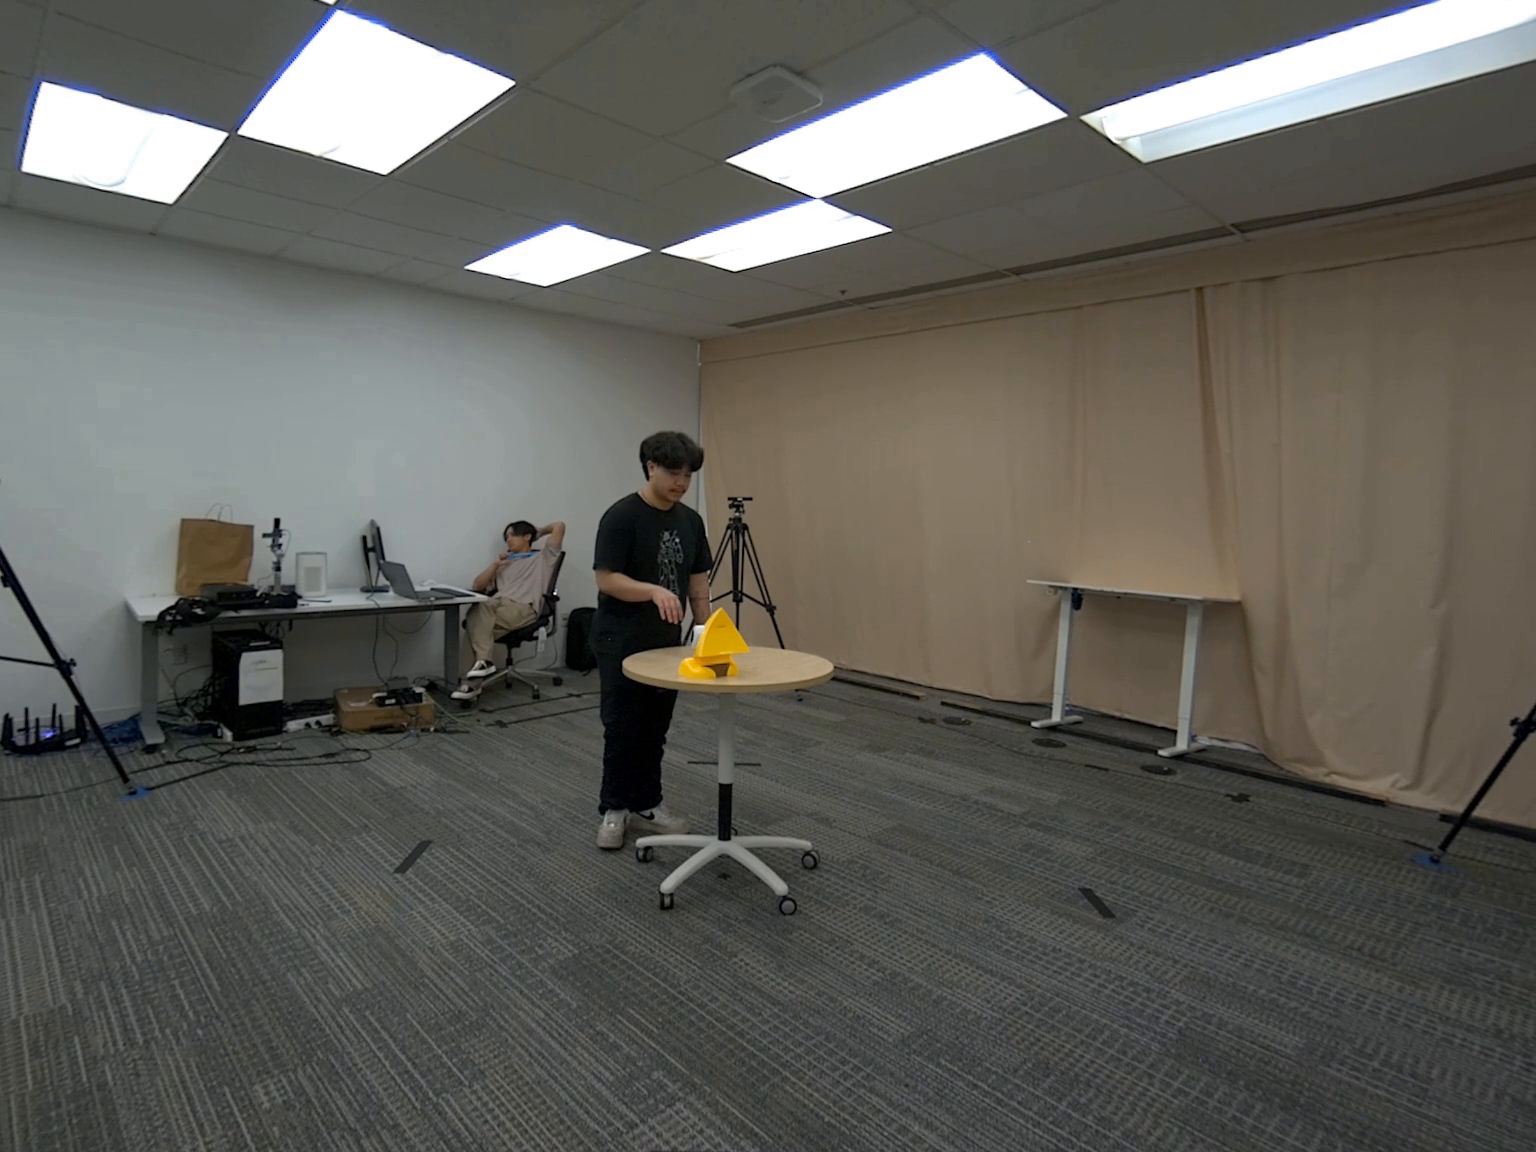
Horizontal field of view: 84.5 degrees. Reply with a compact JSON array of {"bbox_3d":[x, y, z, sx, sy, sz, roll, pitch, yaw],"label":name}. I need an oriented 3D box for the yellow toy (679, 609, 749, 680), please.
[{"bbox_3d":[-0.203,0.219,2.860,0.200,0.230,0.198,-2,4,-37],"label":"yellow toy"}]
